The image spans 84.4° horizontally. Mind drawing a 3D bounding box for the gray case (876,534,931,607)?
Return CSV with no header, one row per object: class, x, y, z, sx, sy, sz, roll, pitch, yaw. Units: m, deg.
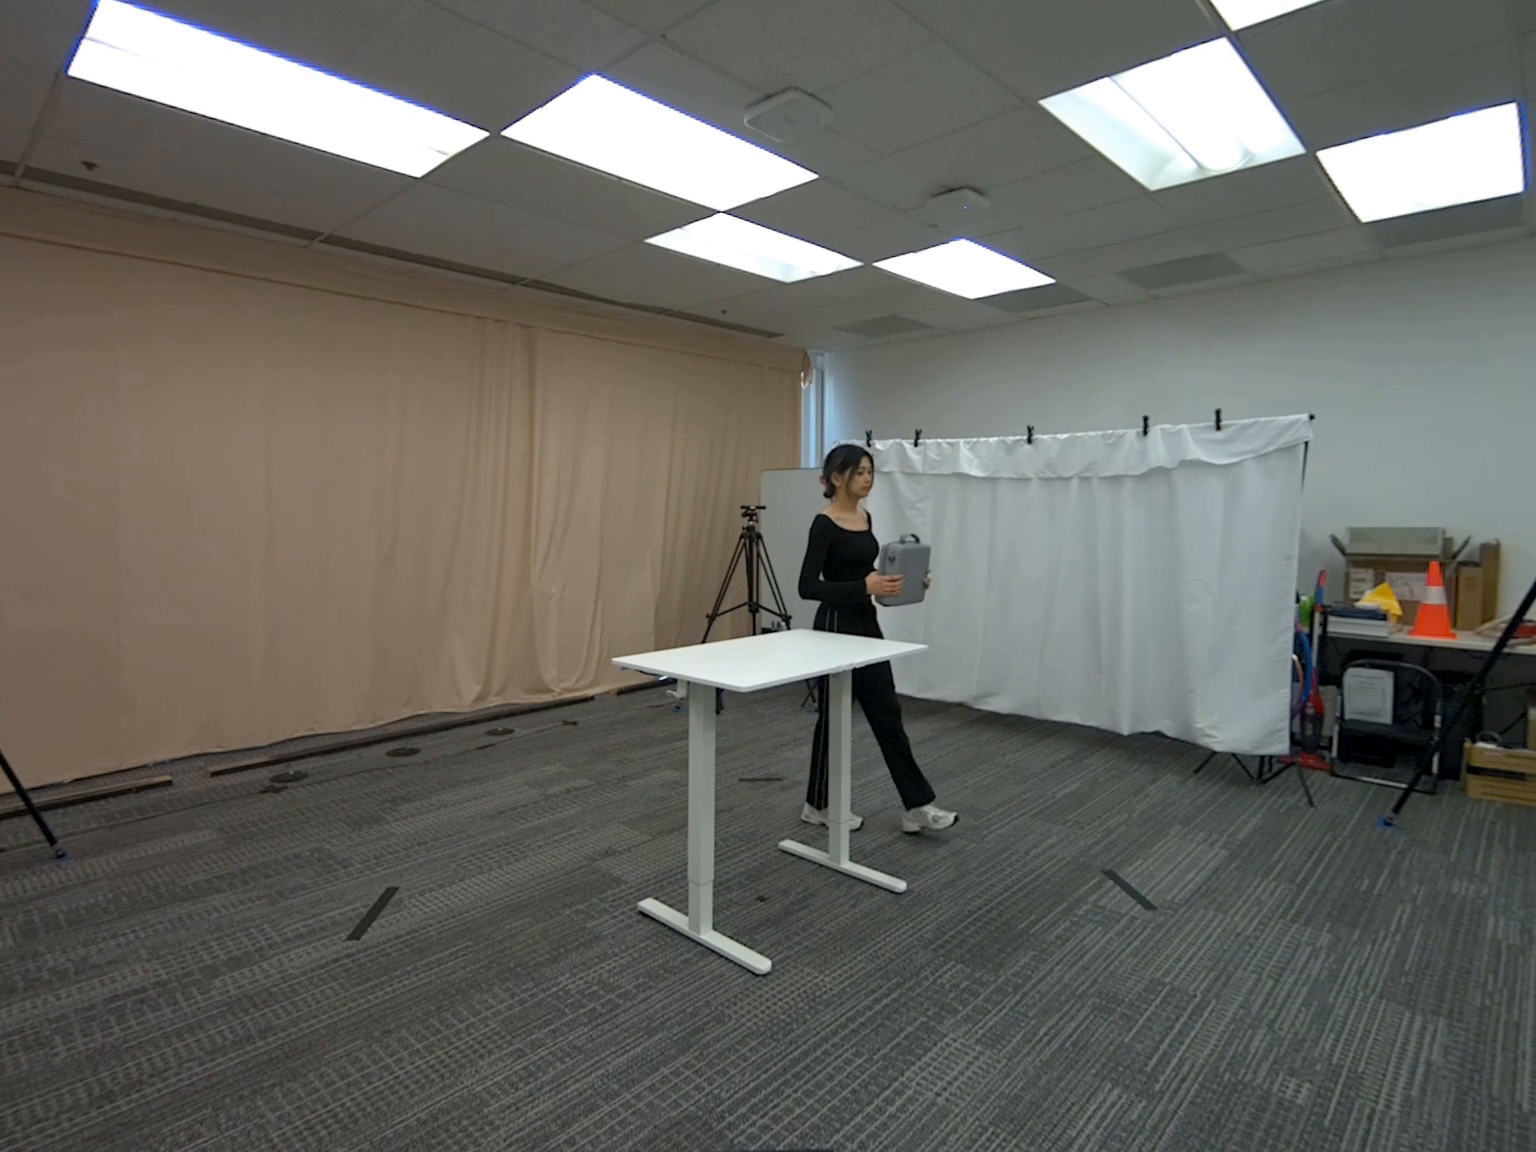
gray case,0.554,-0.015,3.427,0.108,0.259,0.249,14,13,41
